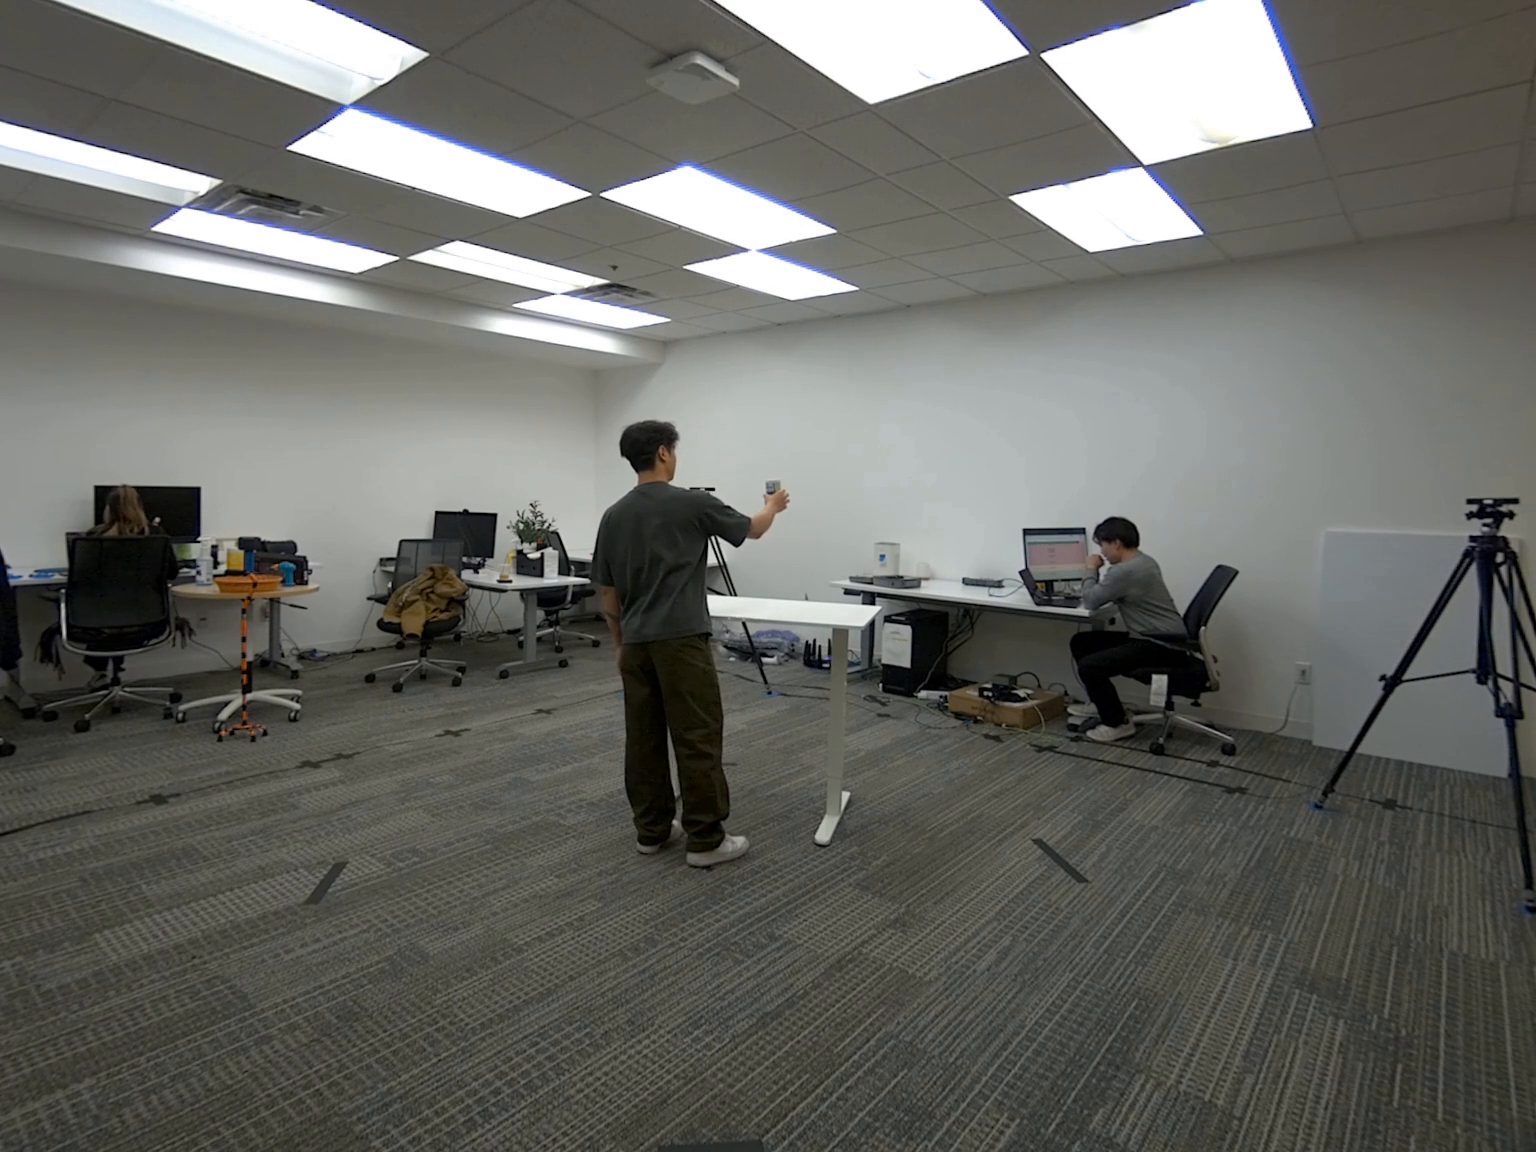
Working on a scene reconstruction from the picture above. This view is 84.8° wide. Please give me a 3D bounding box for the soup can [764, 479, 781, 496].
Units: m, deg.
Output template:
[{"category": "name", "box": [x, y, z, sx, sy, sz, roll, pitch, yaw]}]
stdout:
[{"category": "soup can", "box": [0.018, -0.366, 3.690, 0.067, 0.121, 0.067, -7, 3, -1]}]
